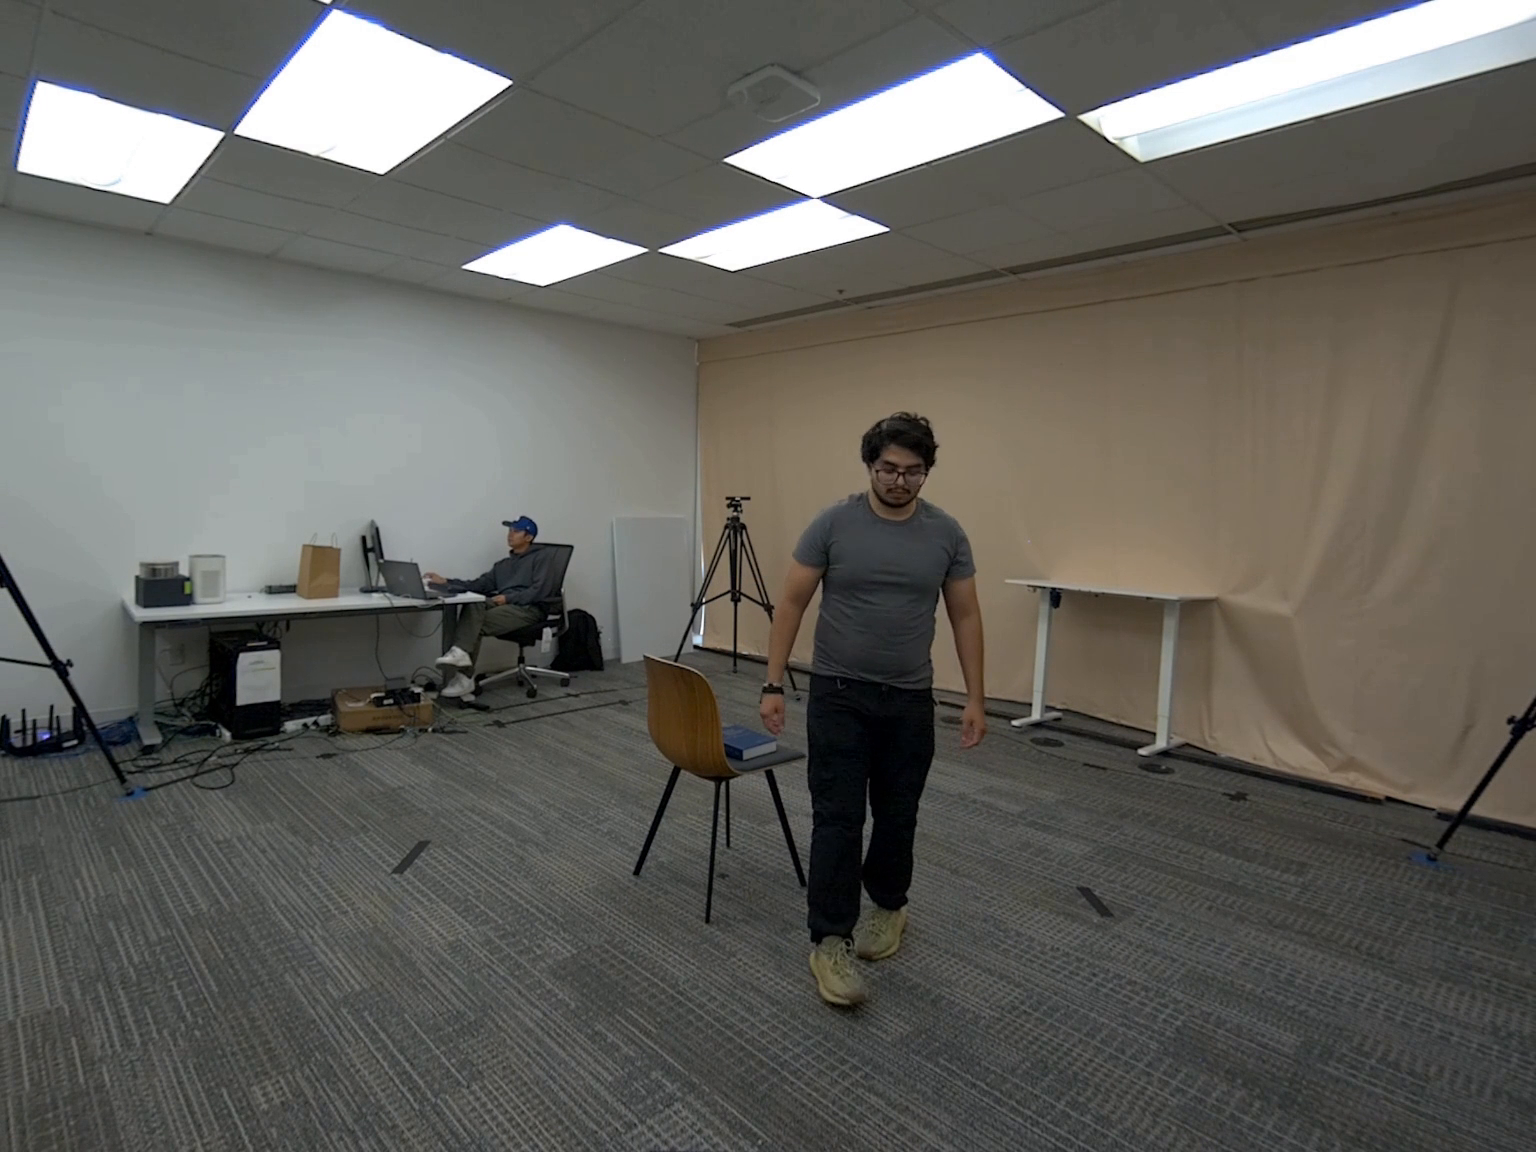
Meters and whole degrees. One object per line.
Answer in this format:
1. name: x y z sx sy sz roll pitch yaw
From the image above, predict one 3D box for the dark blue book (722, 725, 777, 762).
1. dark blue book: -0.106 0.604 3.063 0.160 0.045 0.251 -7 9 -40
